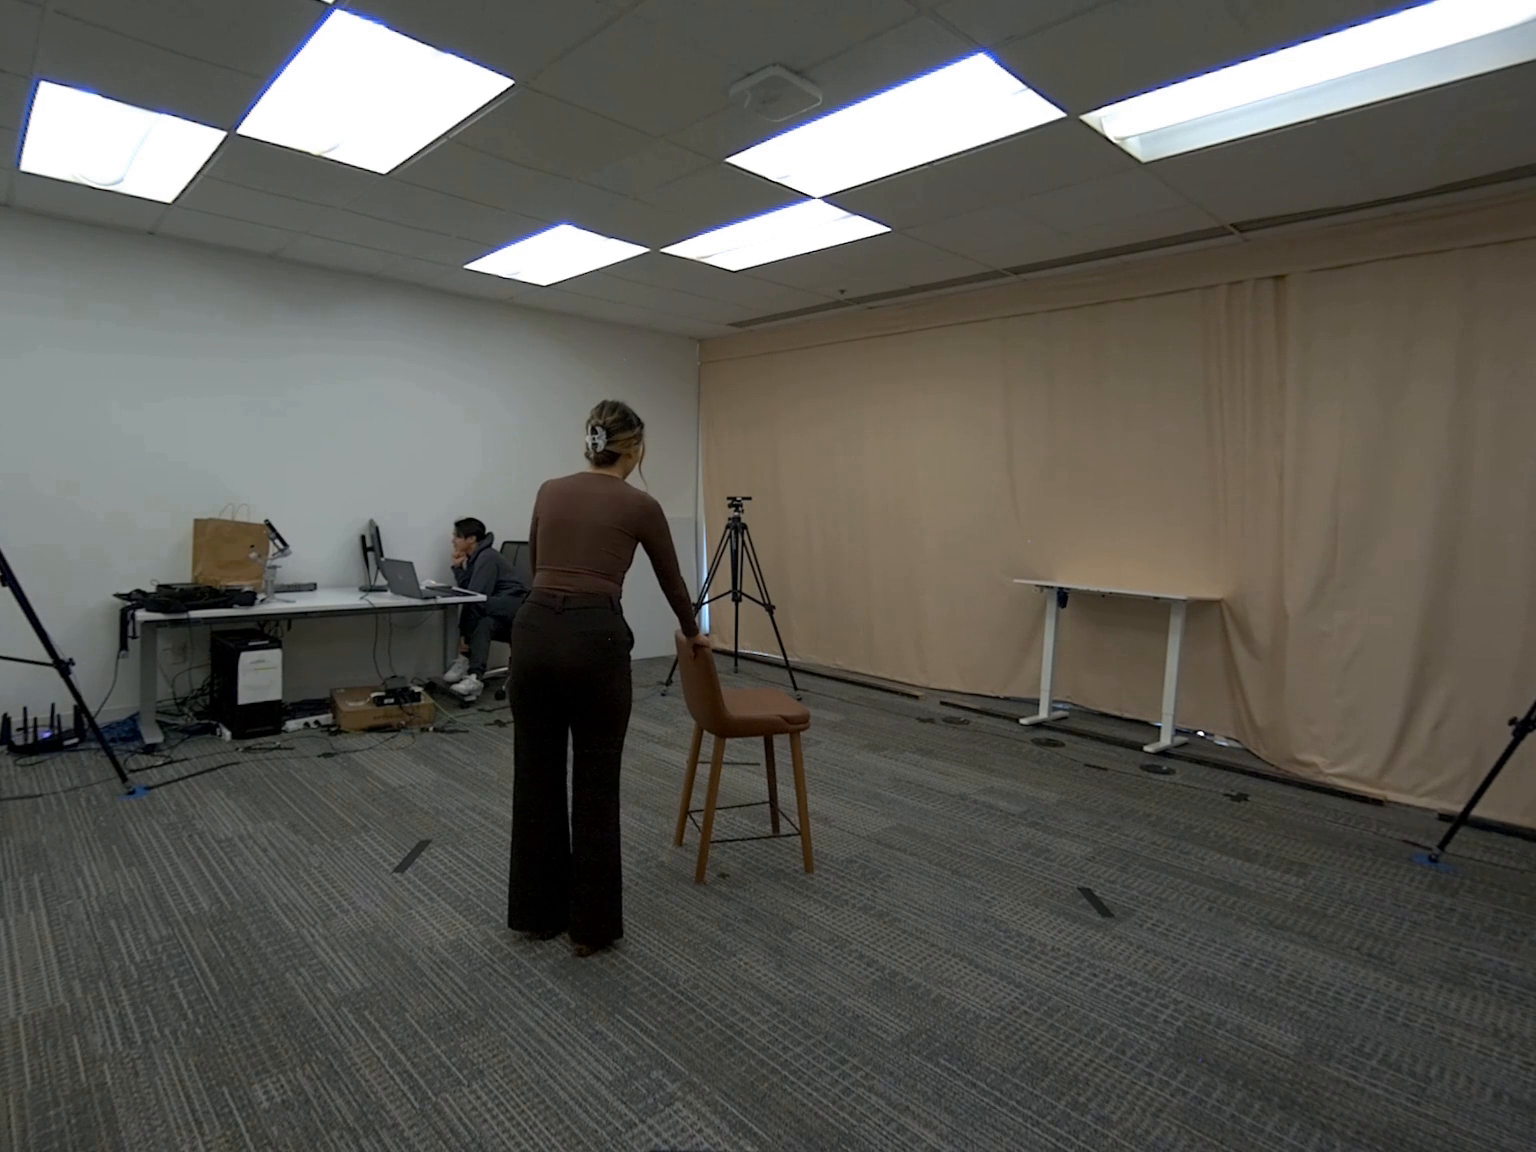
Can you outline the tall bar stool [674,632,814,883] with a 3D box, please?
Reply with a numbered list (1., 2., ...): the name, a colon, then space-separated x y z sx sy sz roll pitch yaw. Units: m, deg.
1. tall bar stool: -0.107 0.659 3.246 0.461 0.887 0.464 -2 4 -18
